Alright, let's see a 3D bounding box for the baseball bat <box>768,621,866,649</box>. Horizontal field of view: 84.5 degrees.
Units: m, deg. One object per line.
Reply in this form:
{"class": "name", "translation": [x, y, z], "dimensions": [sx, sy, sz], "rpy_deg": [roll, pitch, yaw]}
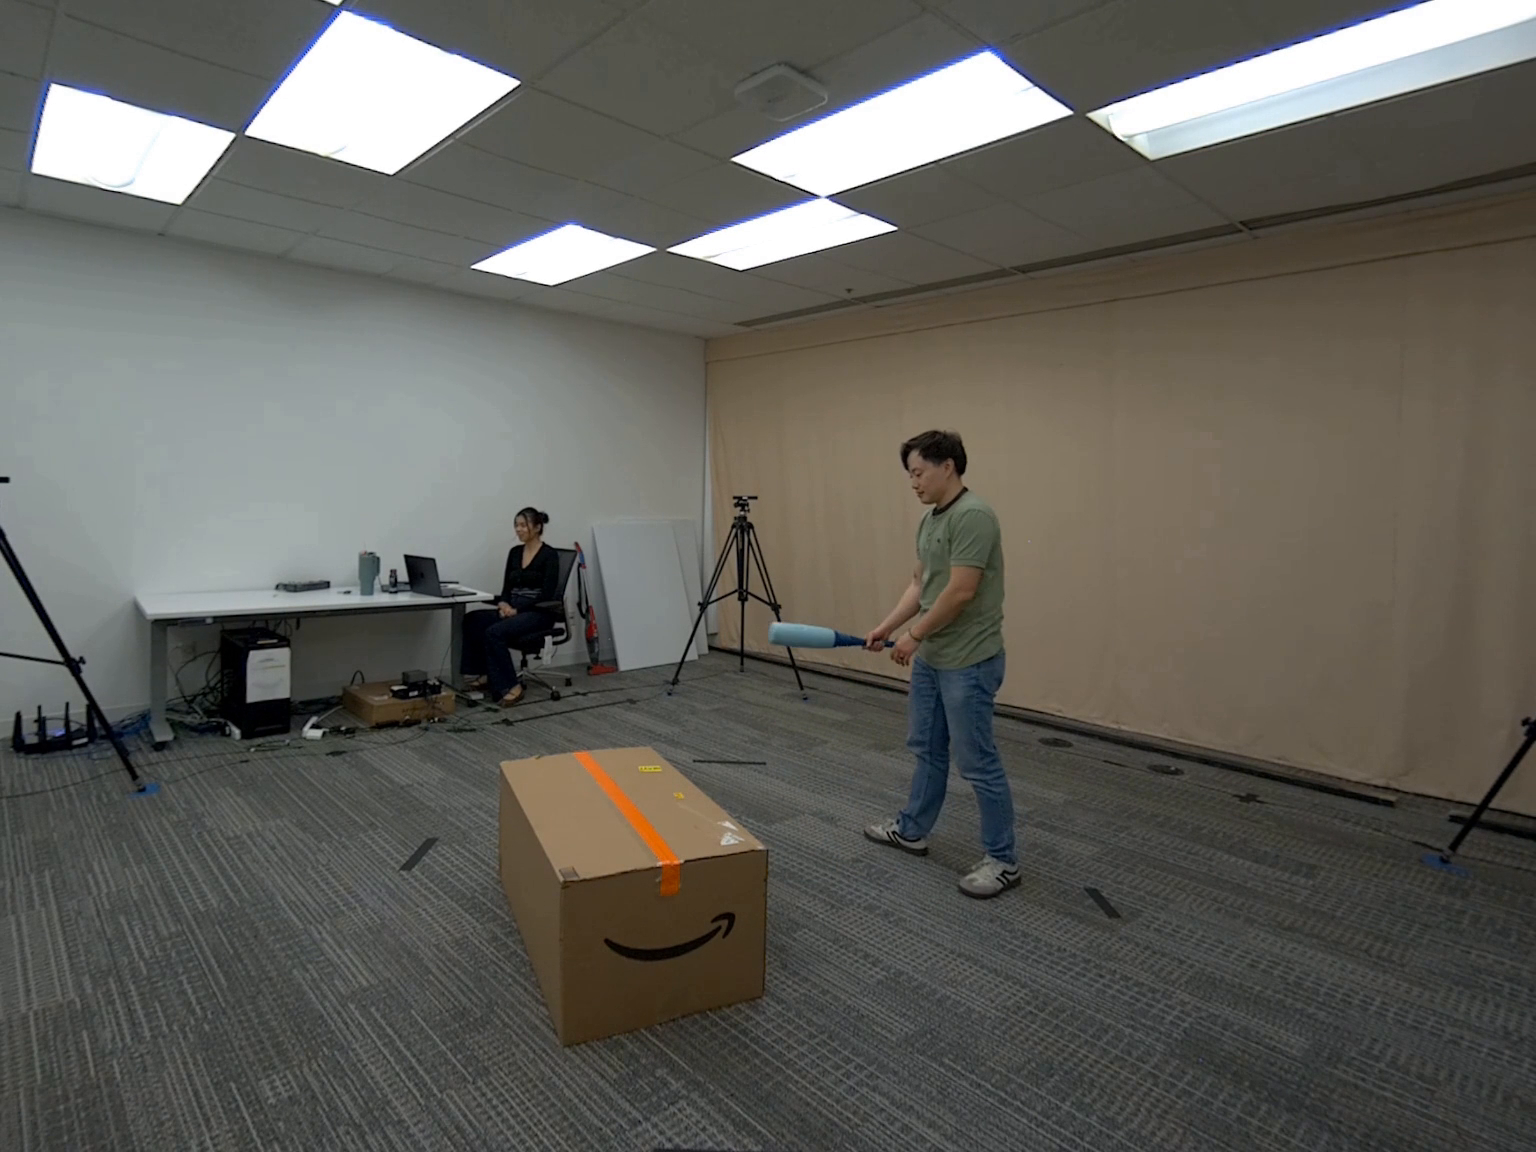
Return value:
{"class": "baseball bat", "translation": [0.269, 0.249, 3.258], "dimensions": [0.540, 0.089, 0.089], "rpy_deg": [8, 3, -5]}
